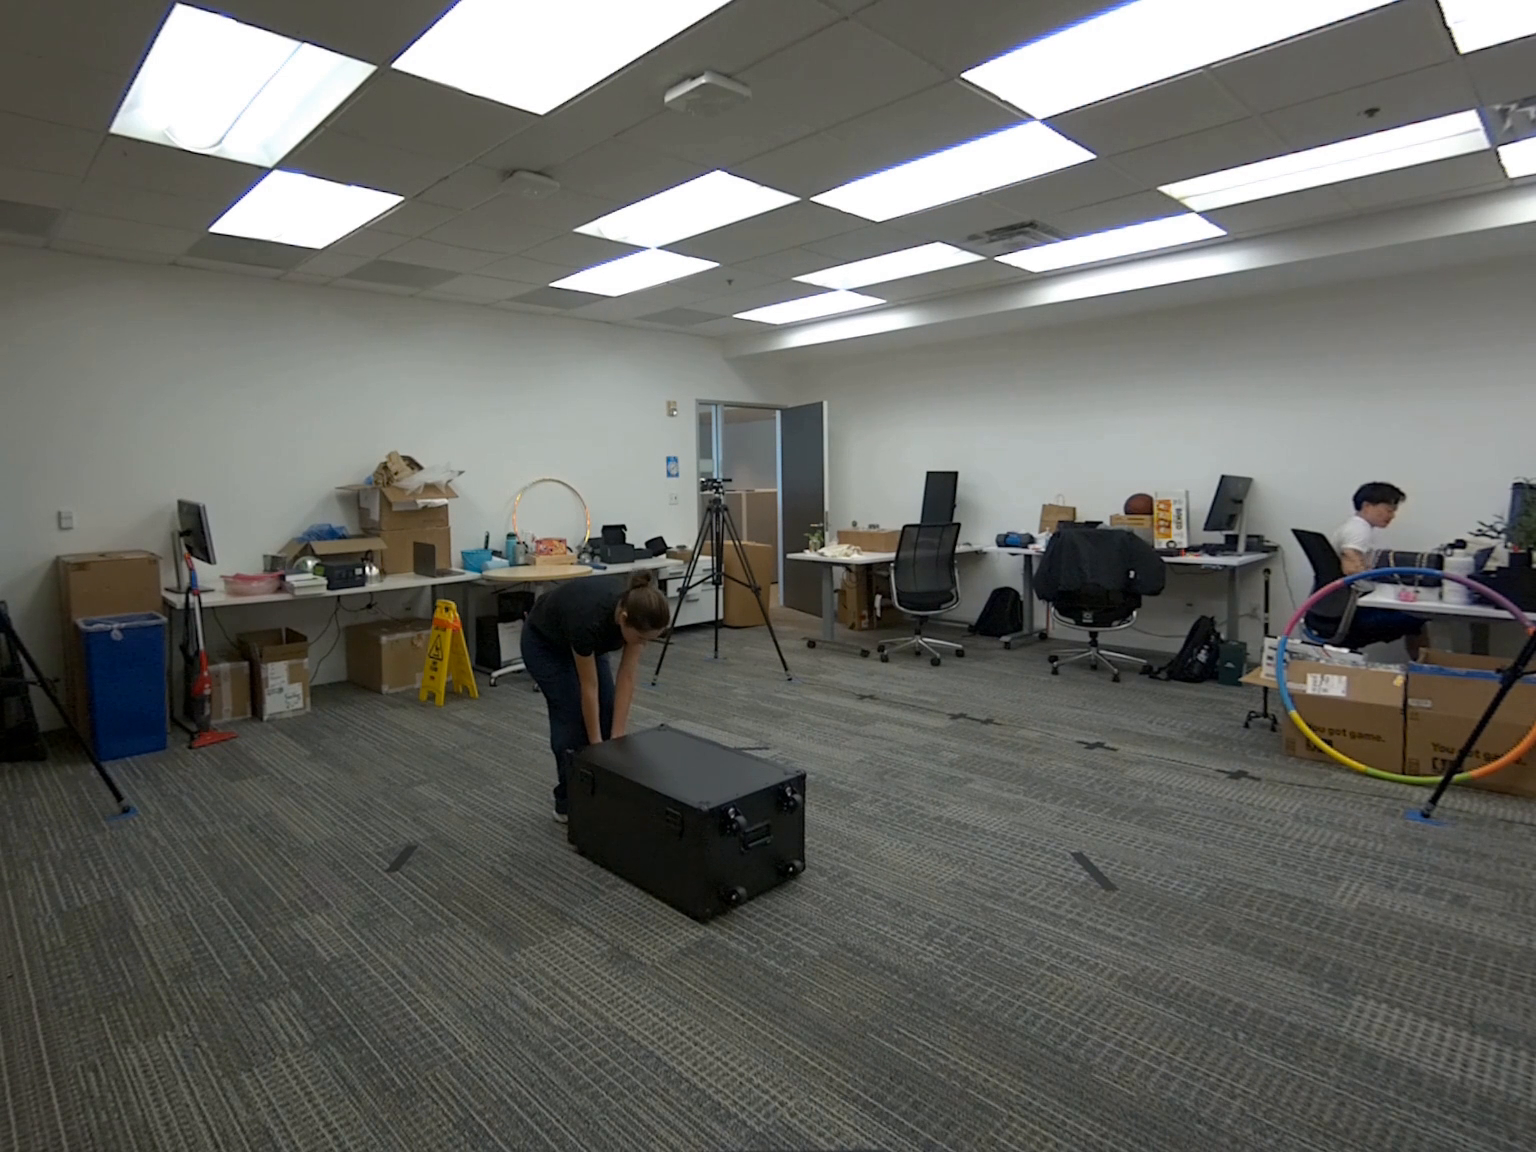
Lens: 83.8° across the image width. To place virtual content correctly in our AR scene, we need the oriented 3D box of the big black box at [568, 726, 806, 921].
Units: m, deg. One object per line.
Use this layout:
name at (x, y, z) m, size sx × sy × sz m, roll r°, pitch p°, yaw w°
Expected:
big black box at (-0.293, 0.857, 3.085) m, size 0.508 × 0.394 × 0.888 m, roll -7°, pitch 8°, yaw -45°
